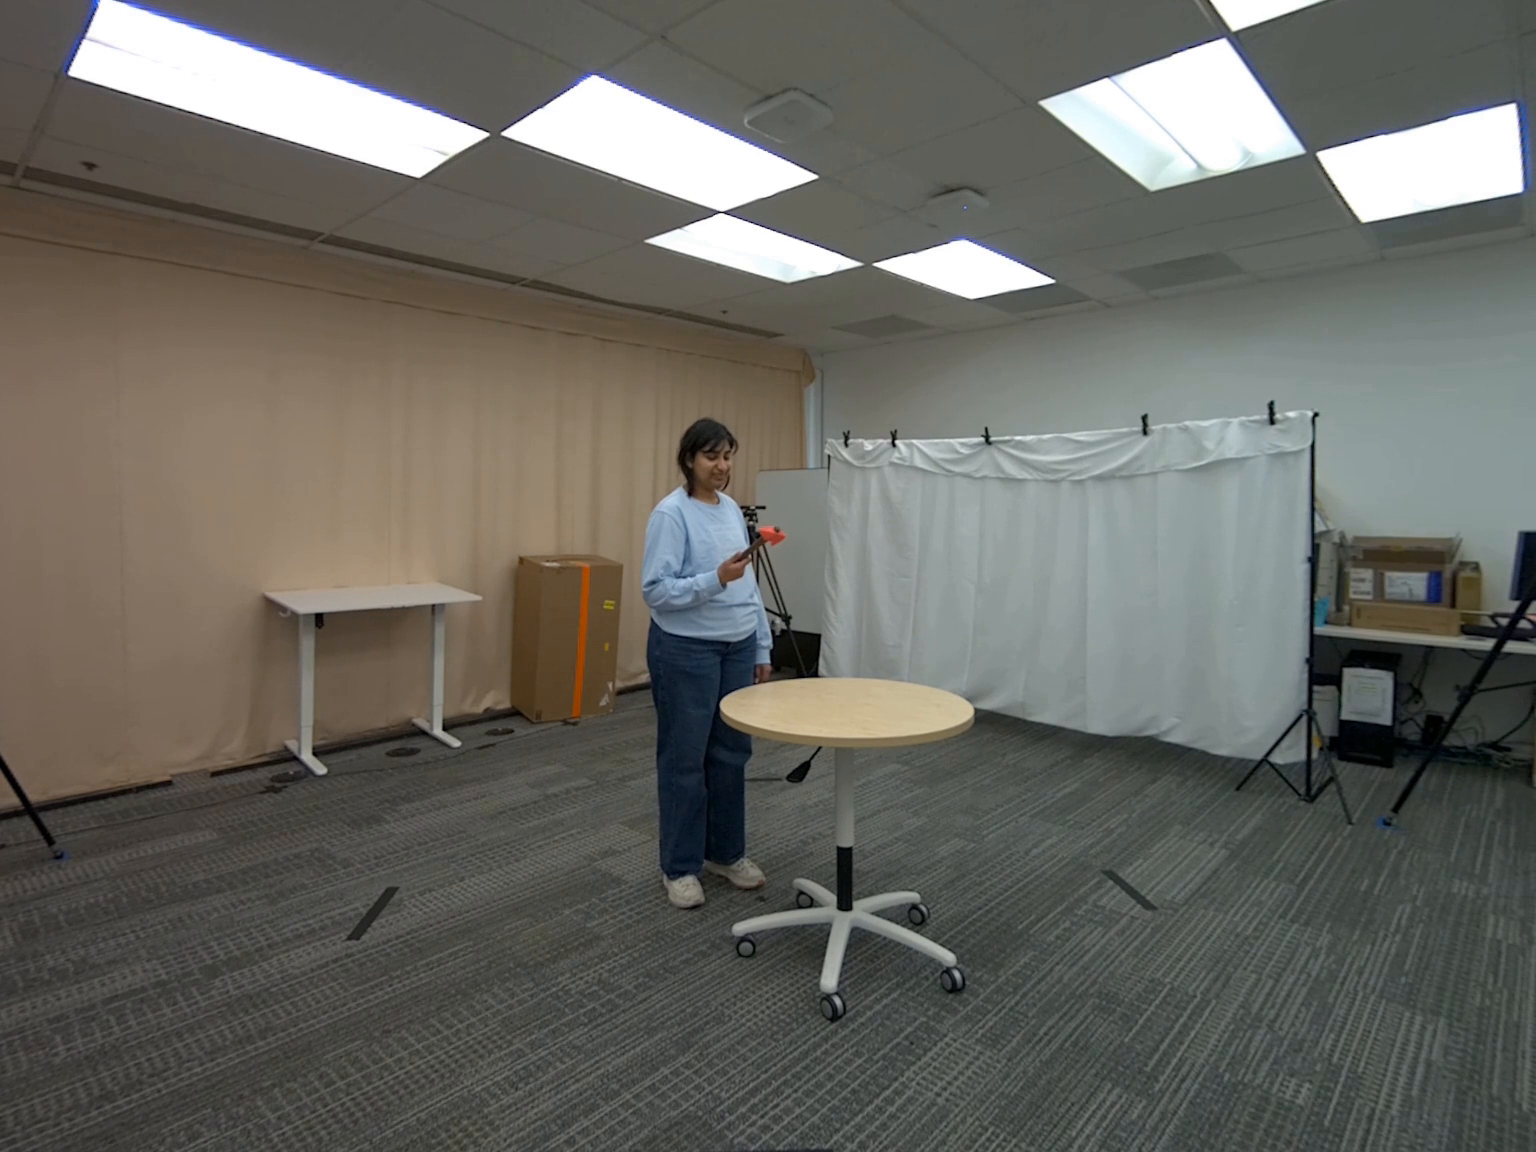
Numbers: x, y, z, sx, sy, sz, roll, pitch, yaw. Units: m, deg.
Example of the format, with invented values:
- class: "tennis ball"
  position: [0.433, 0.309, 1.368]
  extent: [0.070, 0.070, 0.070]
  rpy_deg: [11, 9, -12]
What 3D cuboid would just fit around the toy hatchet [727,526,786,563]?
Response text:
- class: "toy hatchet"
  position: [-0.044, -0.080, 2.766]
  extent: [0.127, 0.030, 0.271]
  rpy_deg: [-5, -30, -34]
